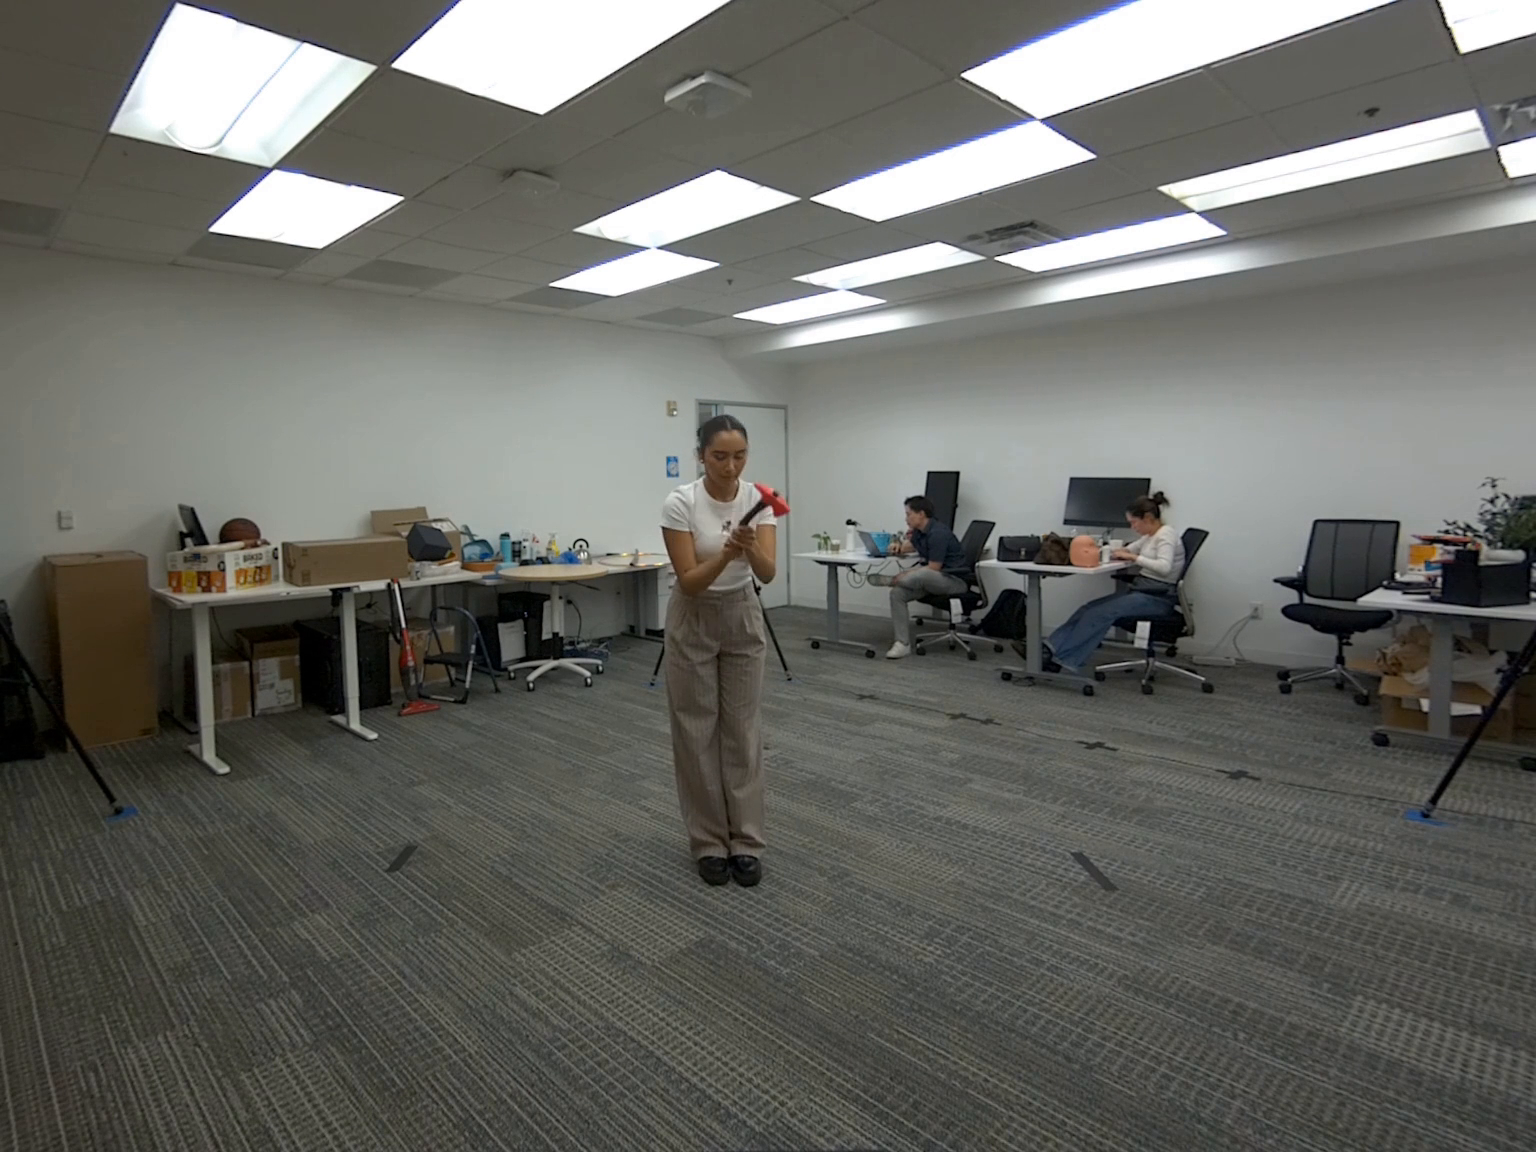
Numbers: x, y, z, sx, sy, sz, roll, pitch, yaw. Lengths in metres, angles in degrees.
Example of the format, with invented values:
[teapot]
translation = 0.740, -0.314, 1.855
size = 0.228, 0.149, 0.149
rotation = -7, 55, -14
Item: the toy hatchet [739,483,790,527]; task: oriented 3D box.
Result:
[toy hatchet]
translation = -0.018, -0.165, 2.594
size = 0.131, 0.030, 0.266
rotation = 27, -40, 2
